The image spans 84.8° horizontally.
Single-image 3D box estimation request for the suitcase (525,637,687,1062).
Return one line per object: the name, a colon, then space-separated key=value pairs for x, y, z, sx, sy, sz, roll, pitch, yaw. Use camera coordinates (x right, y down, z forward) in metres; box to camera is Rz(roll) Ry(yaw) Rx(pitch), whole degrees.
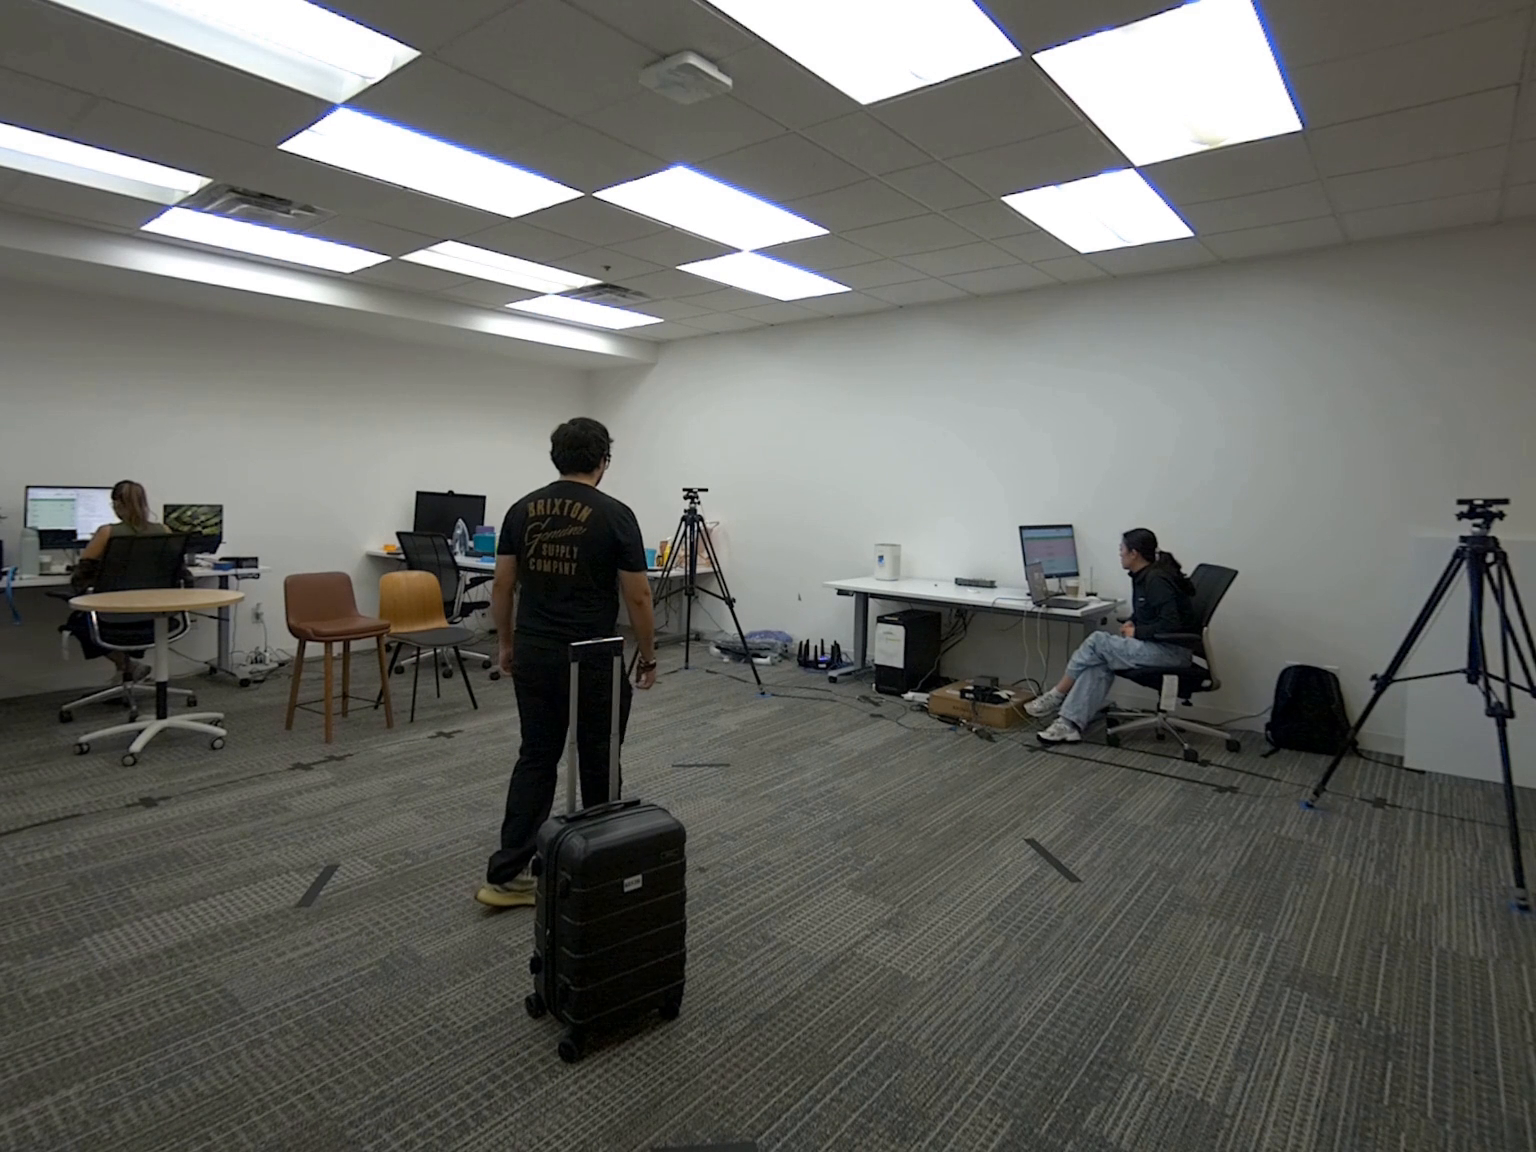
suitcase: x=-0.406 y=0.679 z=2.204 sx=0.372 sy=0.975 sz=0.266 roll=0 pitch=5 yaw=-36
